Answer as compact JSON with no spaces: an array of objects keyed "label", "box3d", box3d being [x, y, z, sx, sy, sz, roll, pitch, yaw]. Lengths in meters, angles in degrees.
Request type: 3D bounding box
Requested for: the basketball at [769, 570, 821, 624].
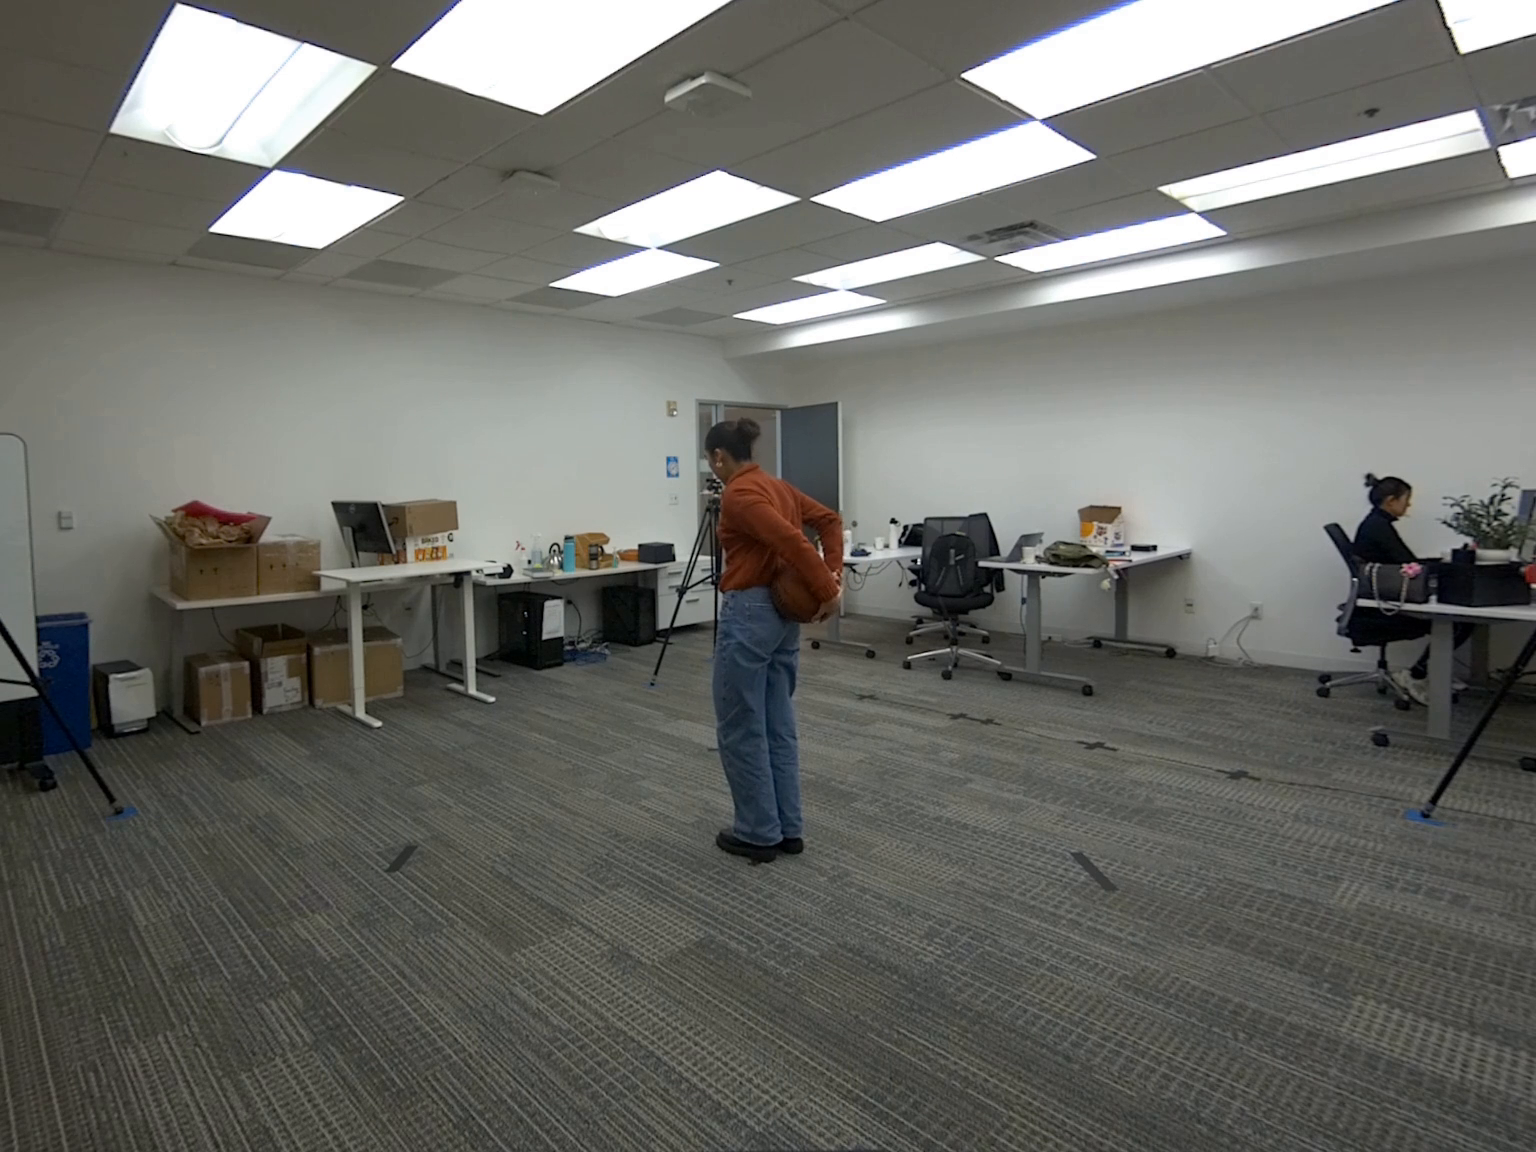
[{"label":"basketball","box3d":[0.137,0.050,3.068,0.236,0.235,0.237,-1,5,-2]}]
